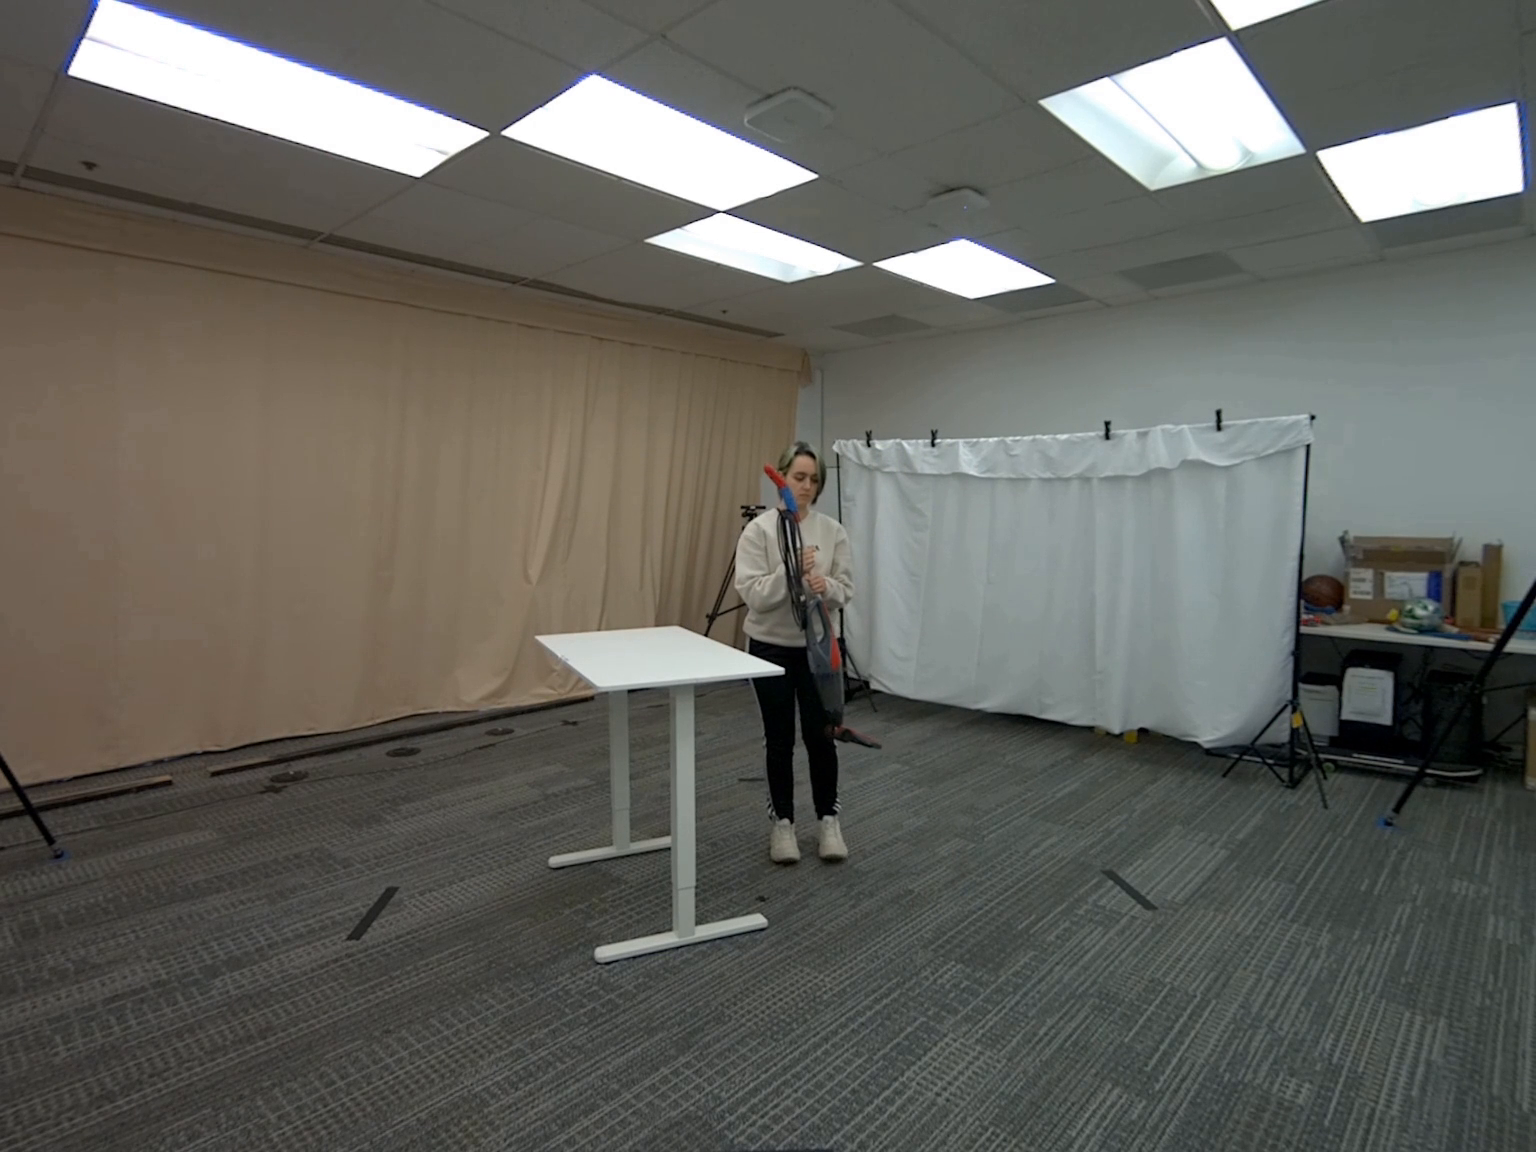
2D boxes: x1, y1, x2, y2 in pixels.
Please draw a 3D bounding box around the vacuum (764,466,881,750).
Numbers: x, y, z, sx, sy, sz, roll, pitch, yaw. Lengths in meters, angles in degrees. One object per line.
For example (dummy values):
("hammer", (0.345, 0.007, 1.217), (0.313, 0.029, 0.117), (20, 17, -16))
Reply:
("vacuum", (0.160, 0.100, 3.104), (0.141, 1.049, 0.257), (-16, 1, -22))
